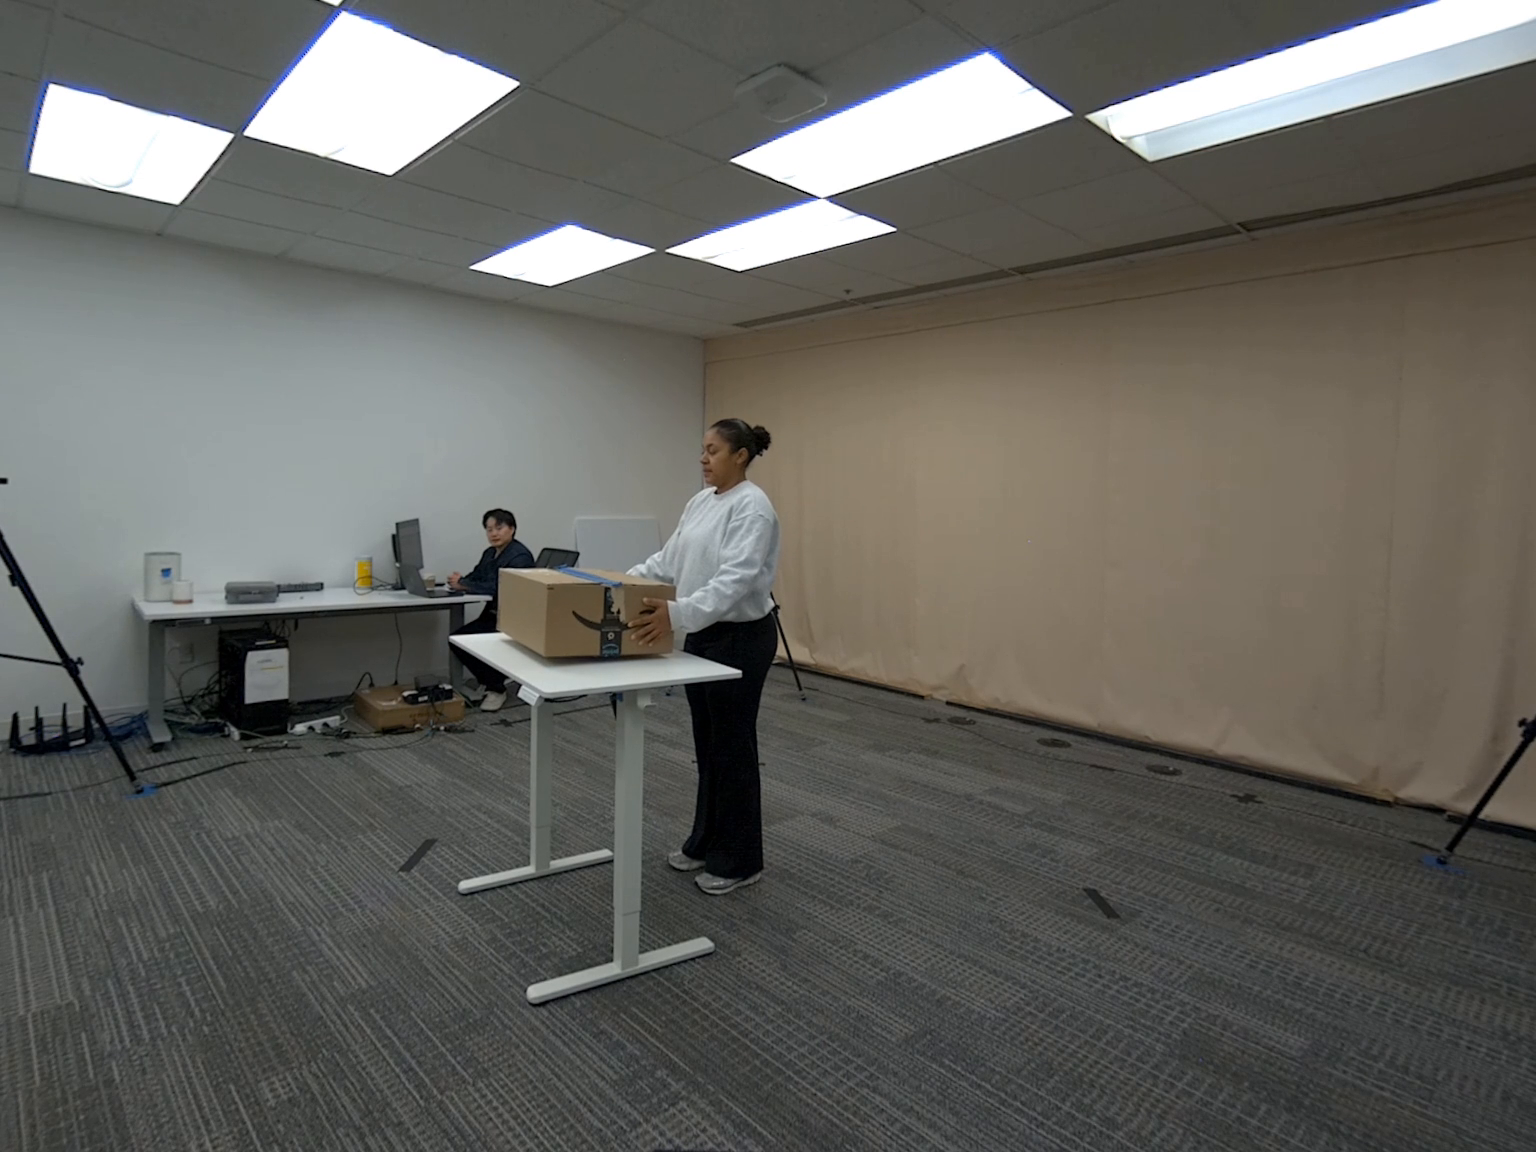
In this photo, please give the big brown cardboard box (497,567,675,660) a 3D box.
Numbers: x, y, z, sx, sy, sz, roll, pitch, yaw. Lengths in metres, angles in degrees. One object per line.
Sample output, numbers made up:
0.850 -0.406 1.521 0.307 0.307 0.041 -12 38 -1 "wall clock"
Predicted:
-0.625 0.110 2.789 0.409 0.232 0.603 2 5 -31 "big brown cardboard box"
